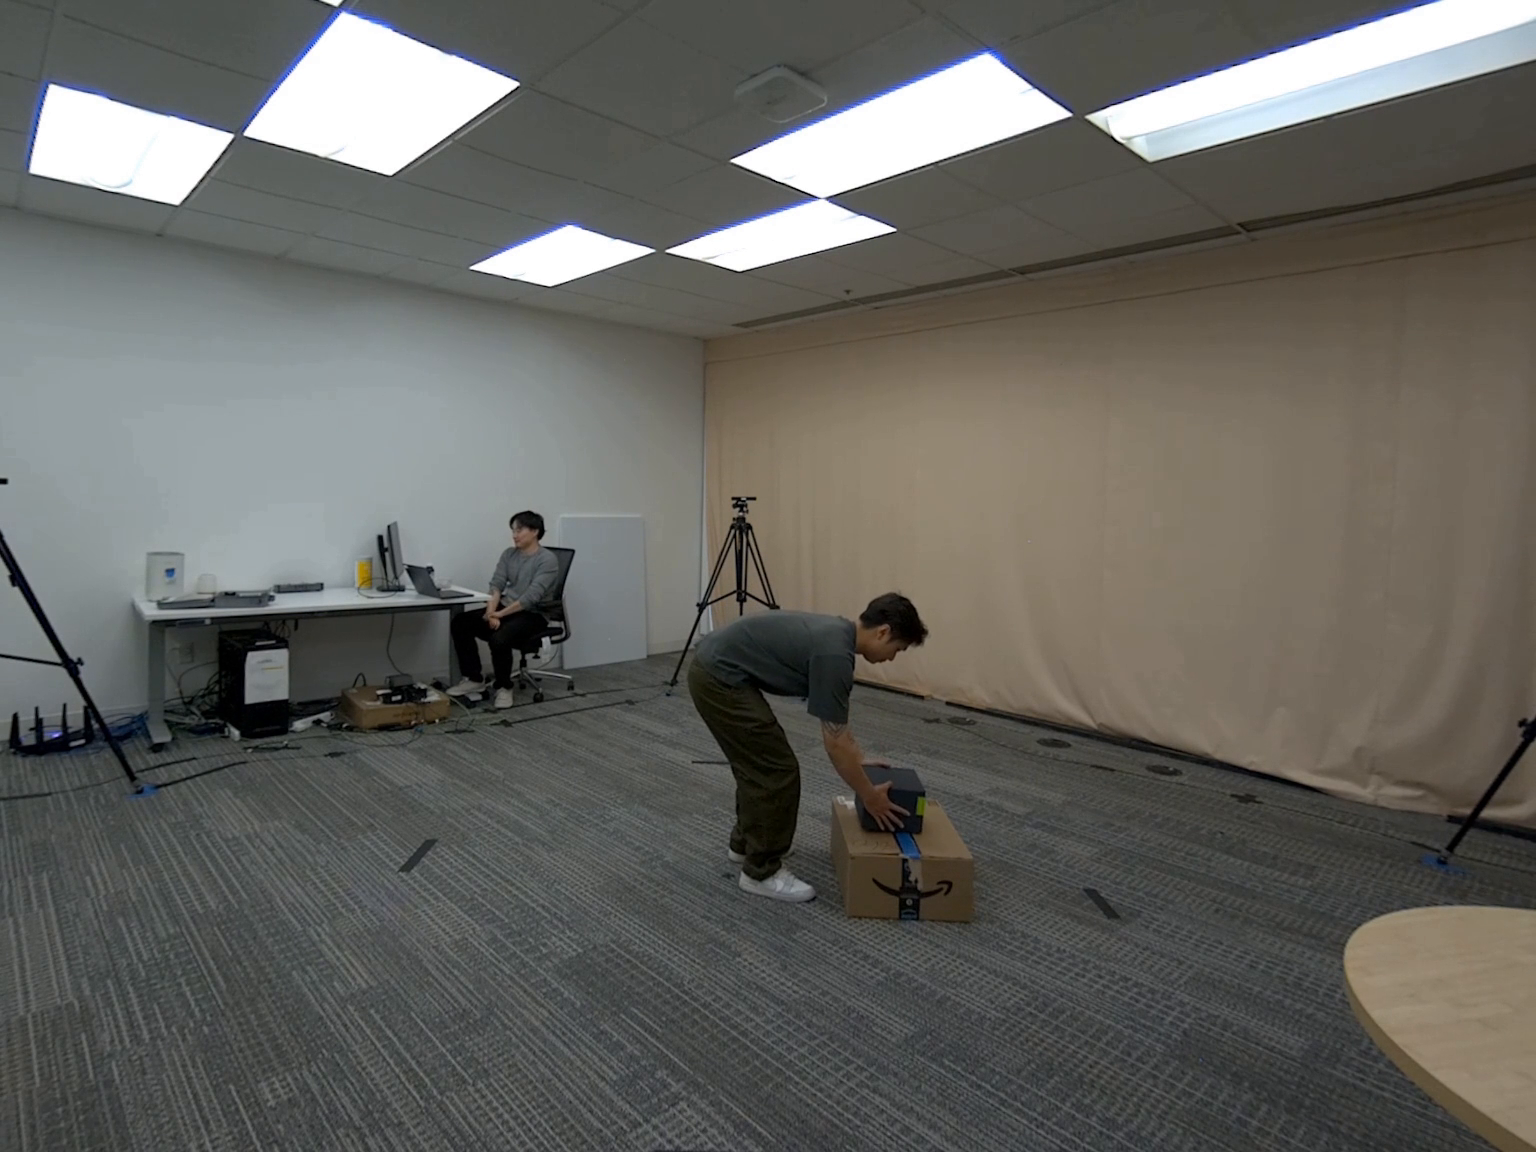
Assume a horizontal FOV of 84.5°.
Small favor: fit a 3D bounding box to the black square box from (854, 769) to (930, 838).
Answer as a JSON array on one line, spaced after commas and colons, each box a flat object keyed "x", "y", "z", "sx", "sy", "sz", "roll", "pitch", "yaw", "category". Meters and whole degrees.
[{"x": 0.442, "y": 0.817, "z": 3.070, "sx": 0.217, "sy": 0.155, "sz": 0.228, "roll": 4, "pitch": 4, "yaw": -1, "category": "black square box"}]
